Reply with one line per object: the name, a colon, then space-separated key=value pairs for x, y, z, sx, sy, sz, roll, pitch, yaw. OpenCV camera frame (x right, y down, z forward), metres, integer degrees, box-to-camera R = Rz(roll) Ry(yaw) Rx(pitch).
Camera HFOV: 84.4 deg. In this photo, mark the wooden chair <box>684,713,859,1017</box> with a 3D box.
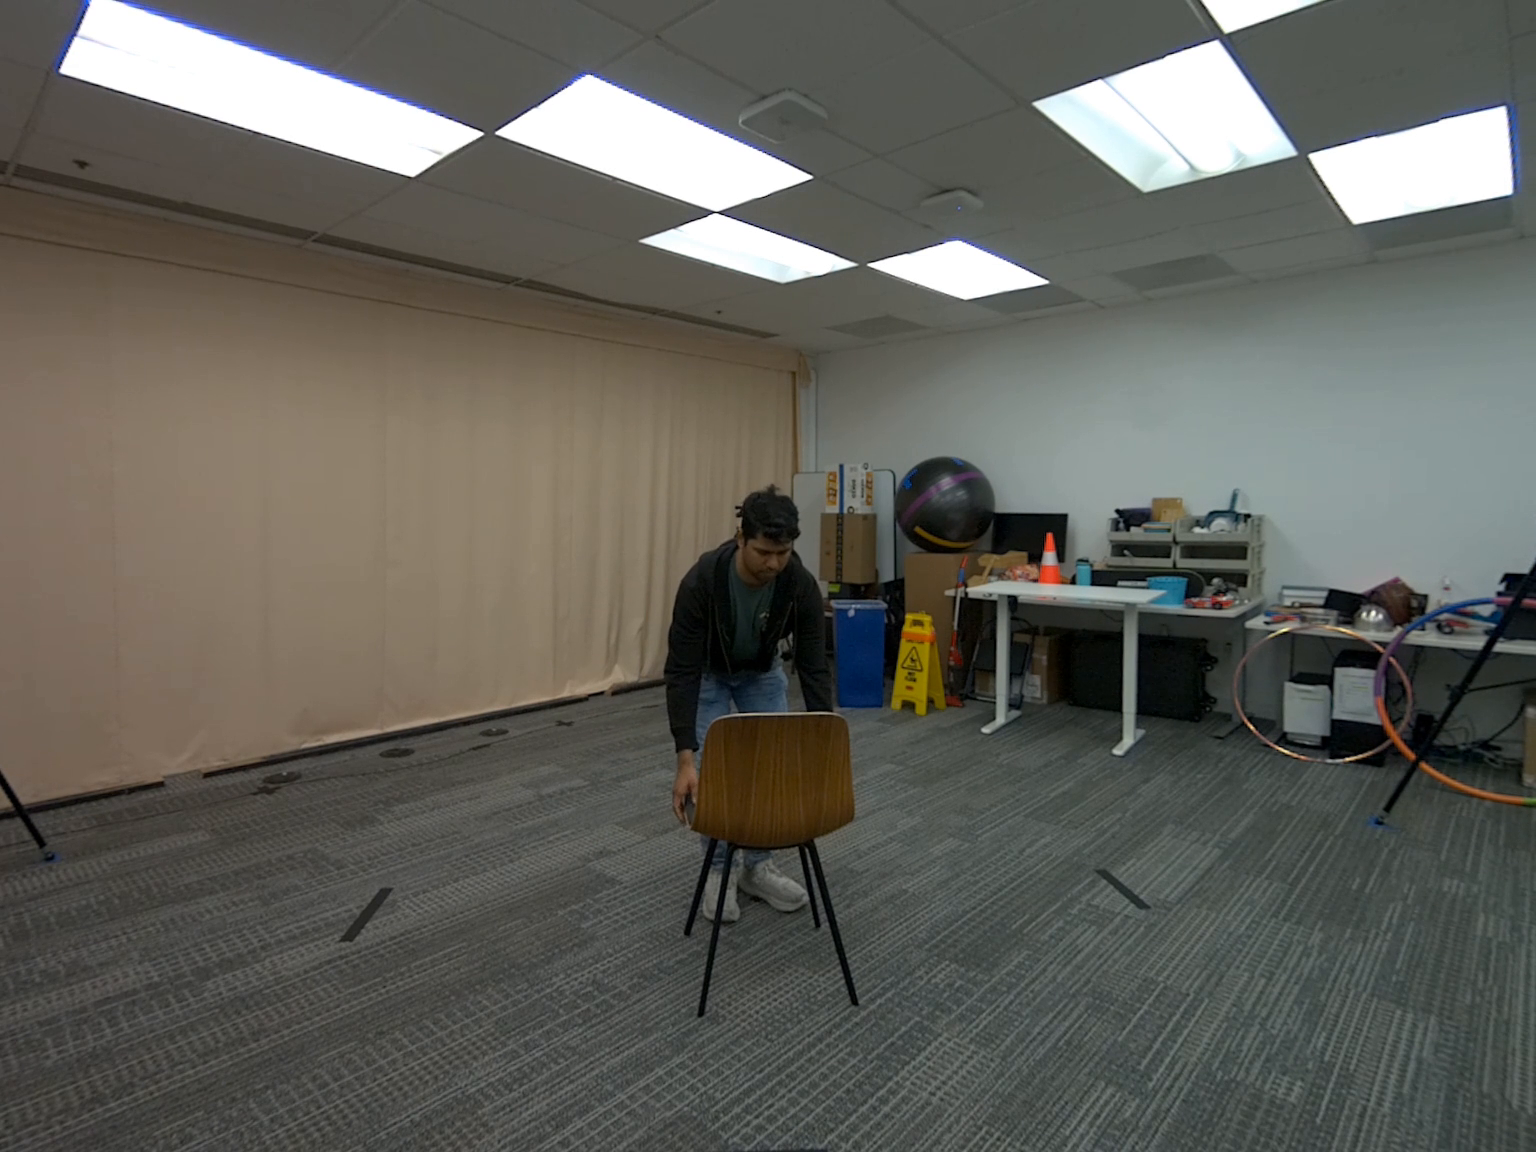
wooden chair: x=-0.005 y=0.749 z=2.523 sx=0.474 sy=0.873 sz=0.530 roll=-1 pitch=8 yaw=-9
